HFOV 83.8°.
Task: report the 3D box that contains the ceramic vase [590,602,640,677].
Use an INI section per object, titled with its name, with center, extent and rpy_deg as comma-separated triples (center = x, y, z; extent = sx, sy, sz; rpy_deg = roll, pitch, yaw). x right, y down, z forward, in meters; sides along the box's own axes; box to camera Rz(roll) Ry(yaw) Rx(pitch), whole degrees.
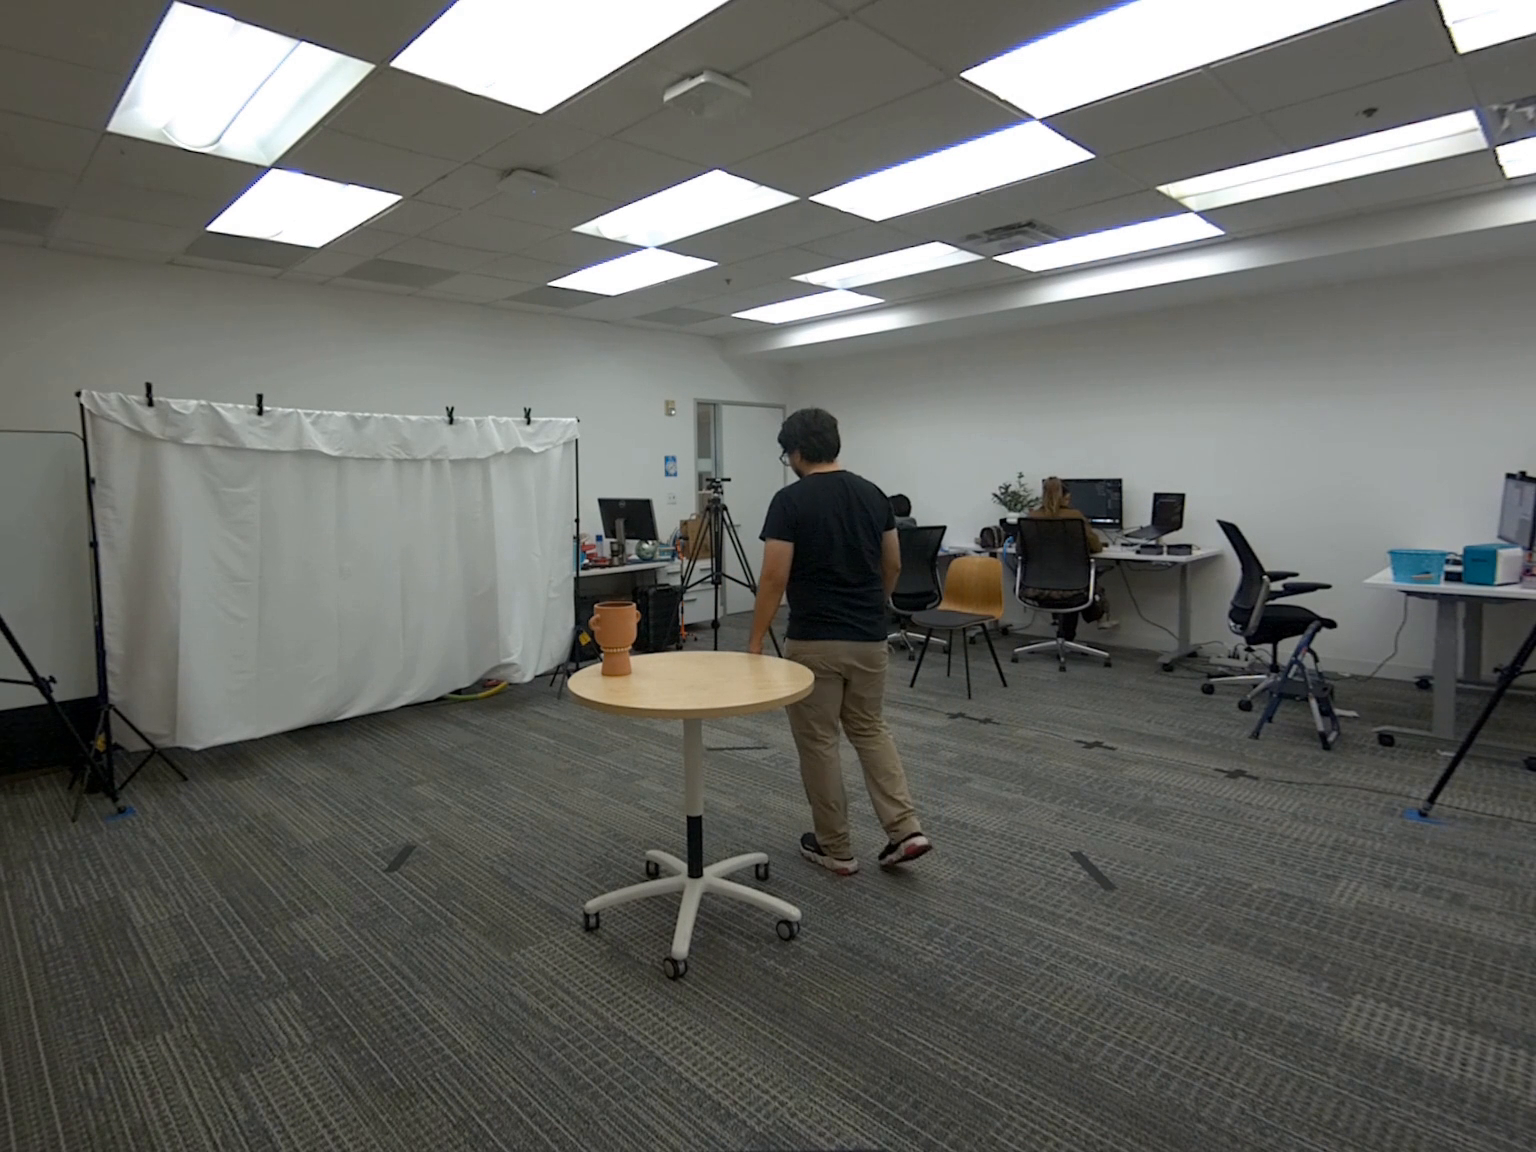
[ceramic vase]
center = -0.478, 0.200, 2.727
extent = 0.158, 0.219, 0.136
rpy_deg = -2, 5, -7
